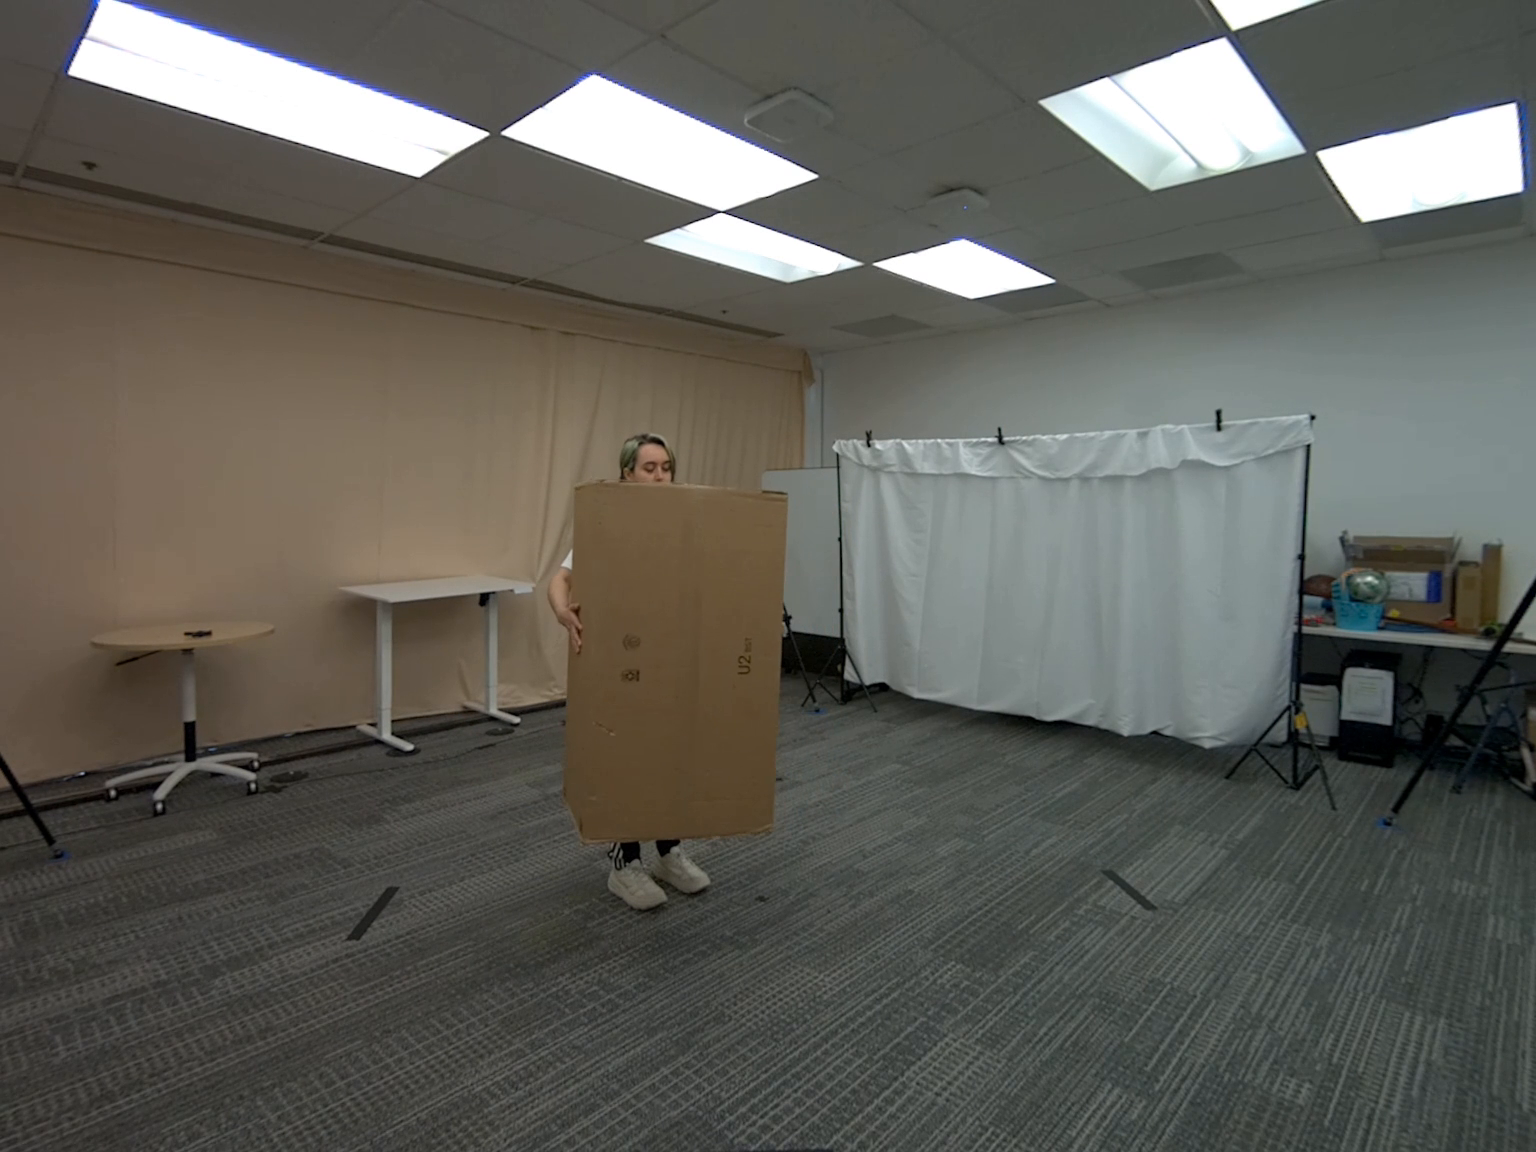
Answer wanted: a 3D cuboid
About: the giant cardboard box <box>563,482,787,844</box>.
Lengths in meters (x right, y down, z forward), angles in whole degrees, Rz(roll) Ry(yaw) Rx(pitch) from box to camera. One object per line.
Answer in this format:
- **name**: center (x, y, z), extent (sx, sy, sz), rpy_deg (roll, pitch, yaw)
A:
- **giant cardboard box**: center (-0.294, 0.241, 2.617), extent (0.566, 1.025, 0.435), rpy_deg (2, 2, -19)
